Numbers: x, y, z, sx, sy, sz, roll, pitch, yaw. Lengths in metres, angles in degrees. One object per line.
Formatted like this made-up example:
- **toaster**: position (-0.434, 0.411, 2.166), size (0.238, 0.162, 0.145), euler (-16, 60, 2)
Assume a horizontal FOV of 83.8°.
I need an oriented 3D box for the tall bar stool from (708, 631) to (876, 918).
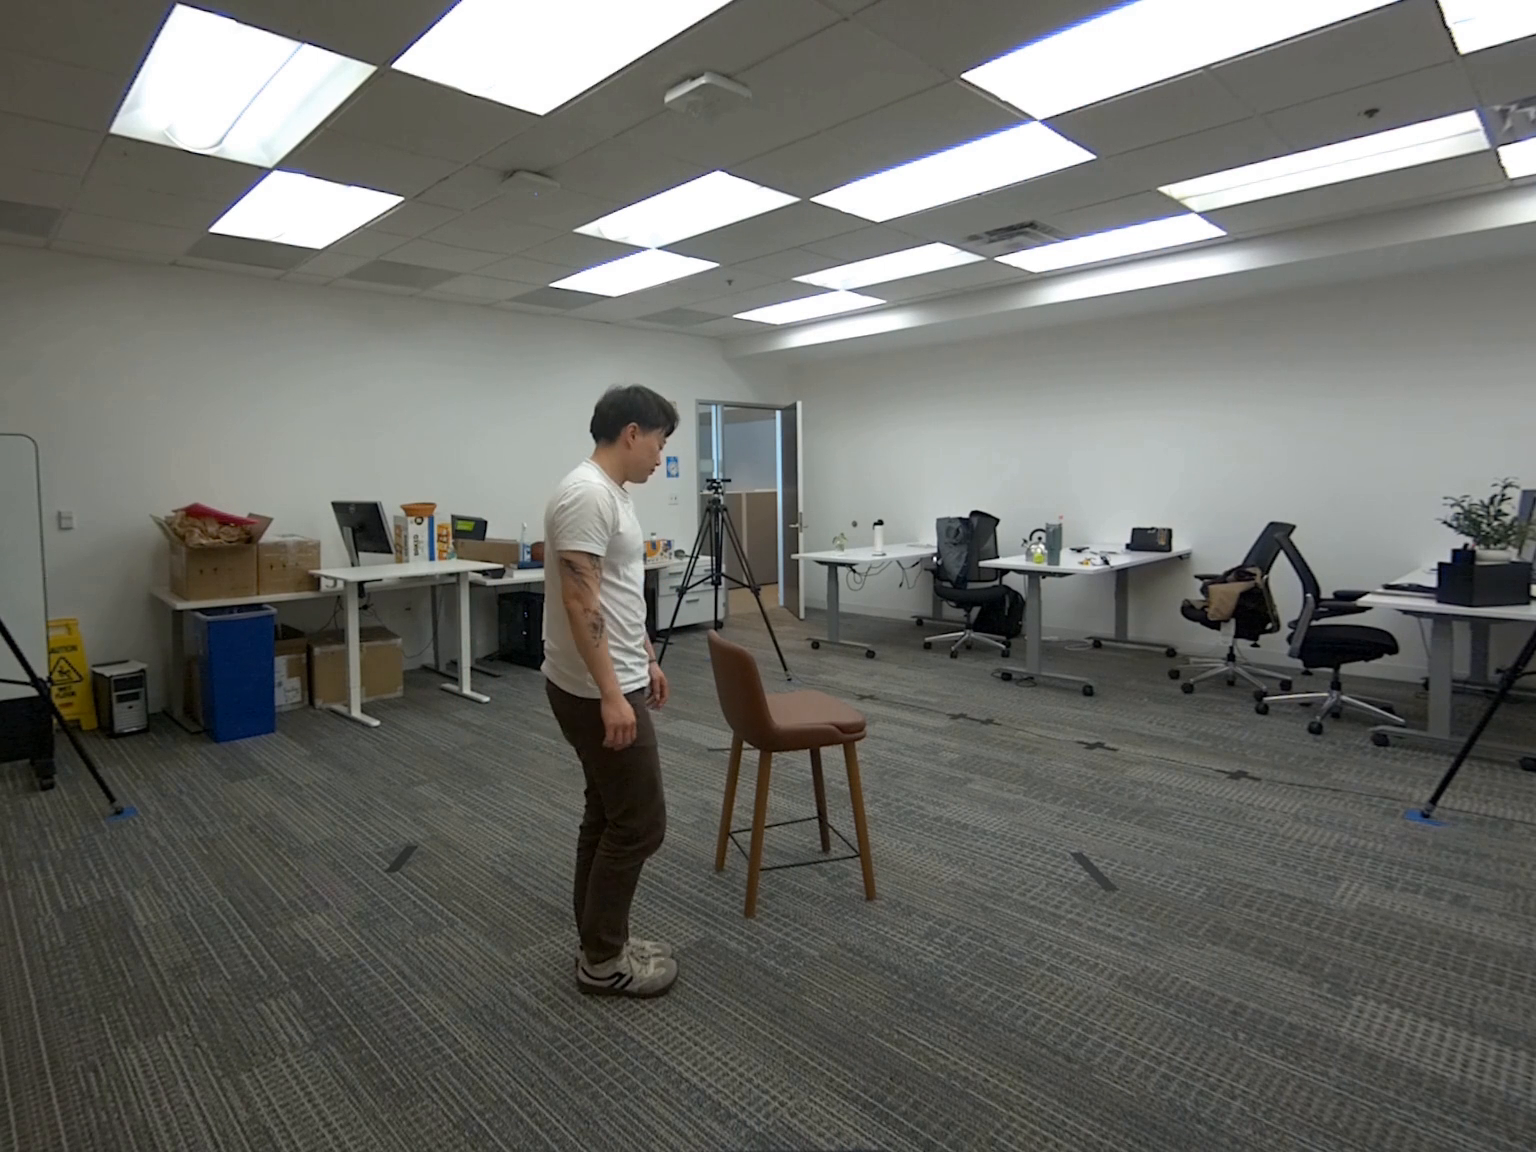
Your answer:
- **tall bar stool**: position (0.070, 0.628, 2.924), size (0.460, 0.886, 0.466), euler (-4, 5, -18)
